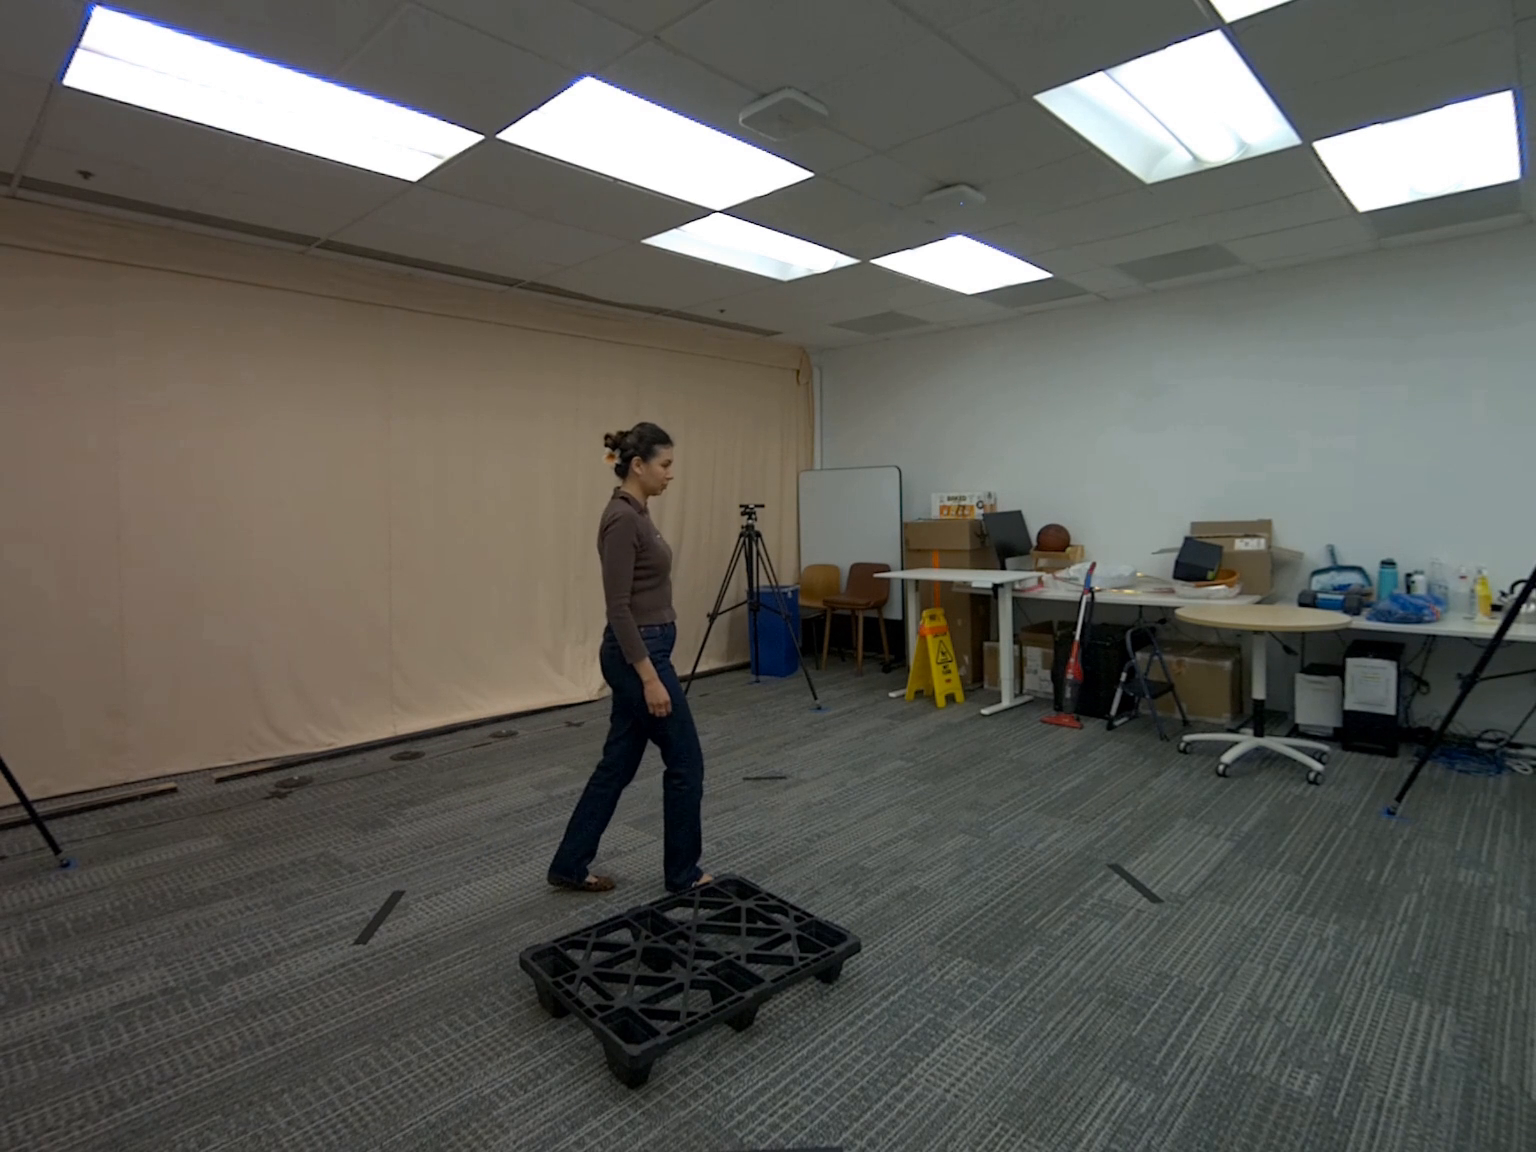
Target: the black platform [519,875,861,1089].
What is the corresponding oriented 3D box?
[{"bbox_3d":[-0.216,1.125,2.416,0.781,0.143,0.625,-5,5,-41],"label":"black platform"}]
